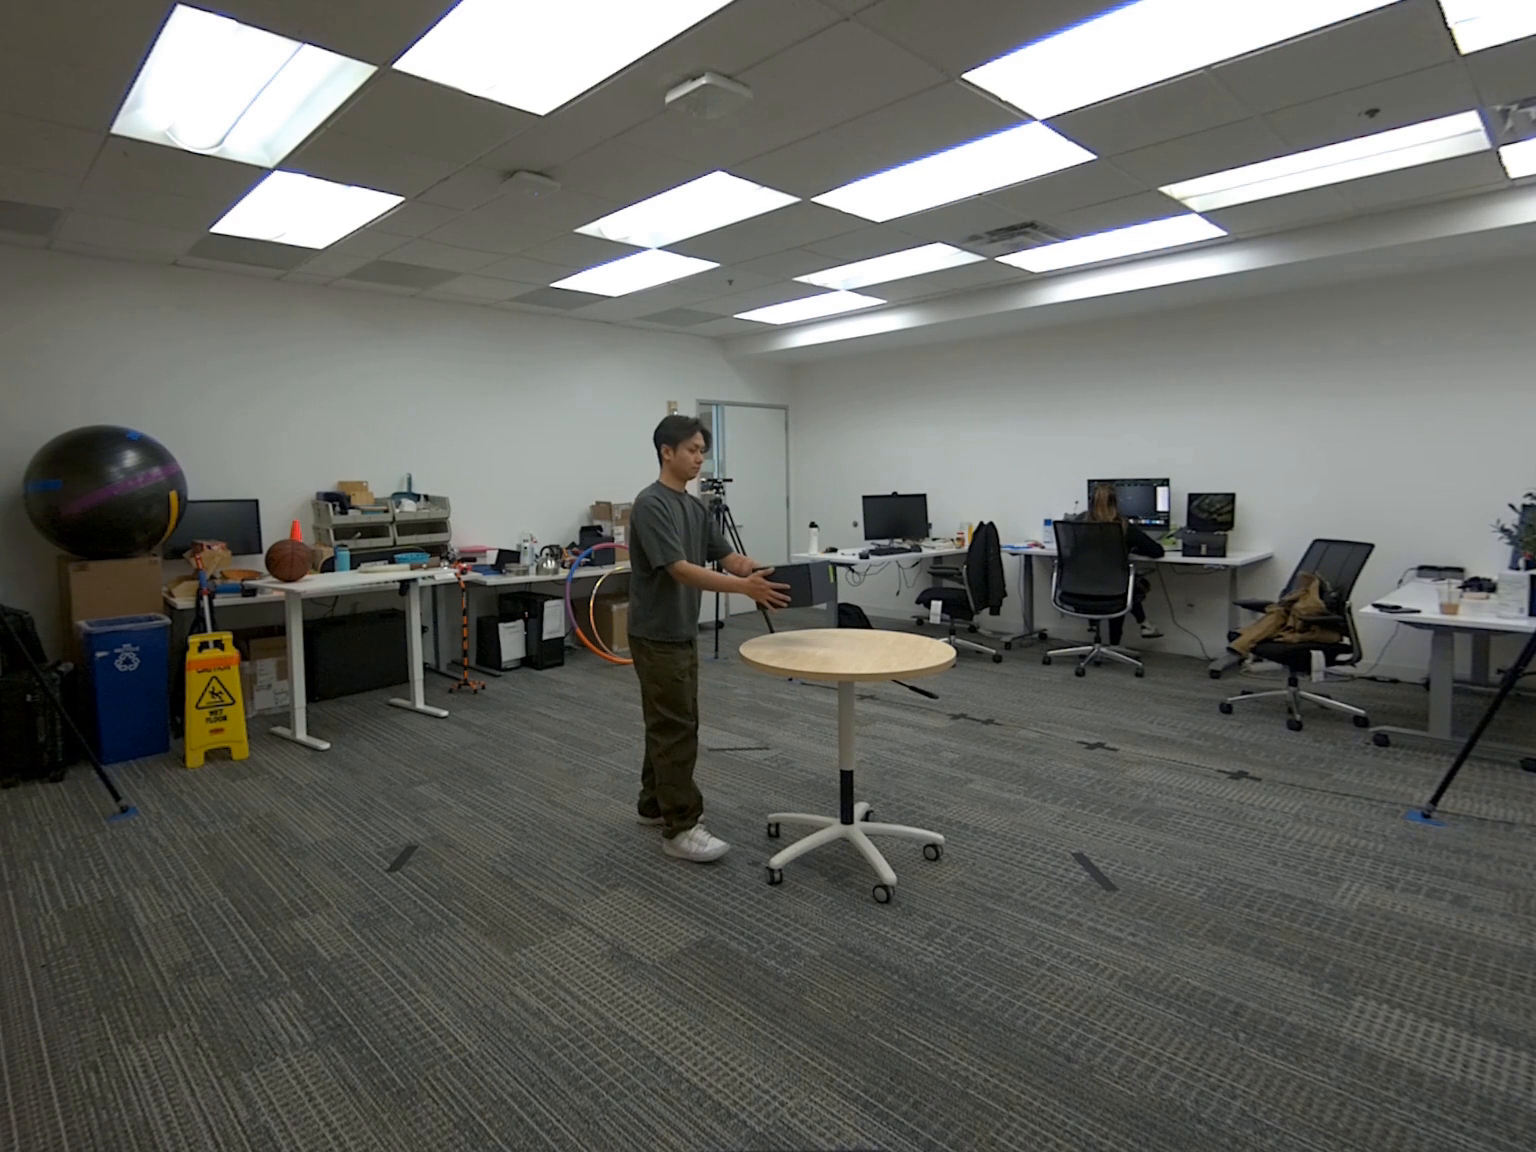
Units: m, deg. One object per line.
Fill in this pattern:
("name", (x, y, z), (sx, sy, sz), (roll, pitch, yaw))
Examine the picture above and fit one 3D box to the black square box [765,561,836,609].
("black square box", (0.098, 0.030, 3.174), (0.233, 0.156, 0.212), (-5, 1, 28))
